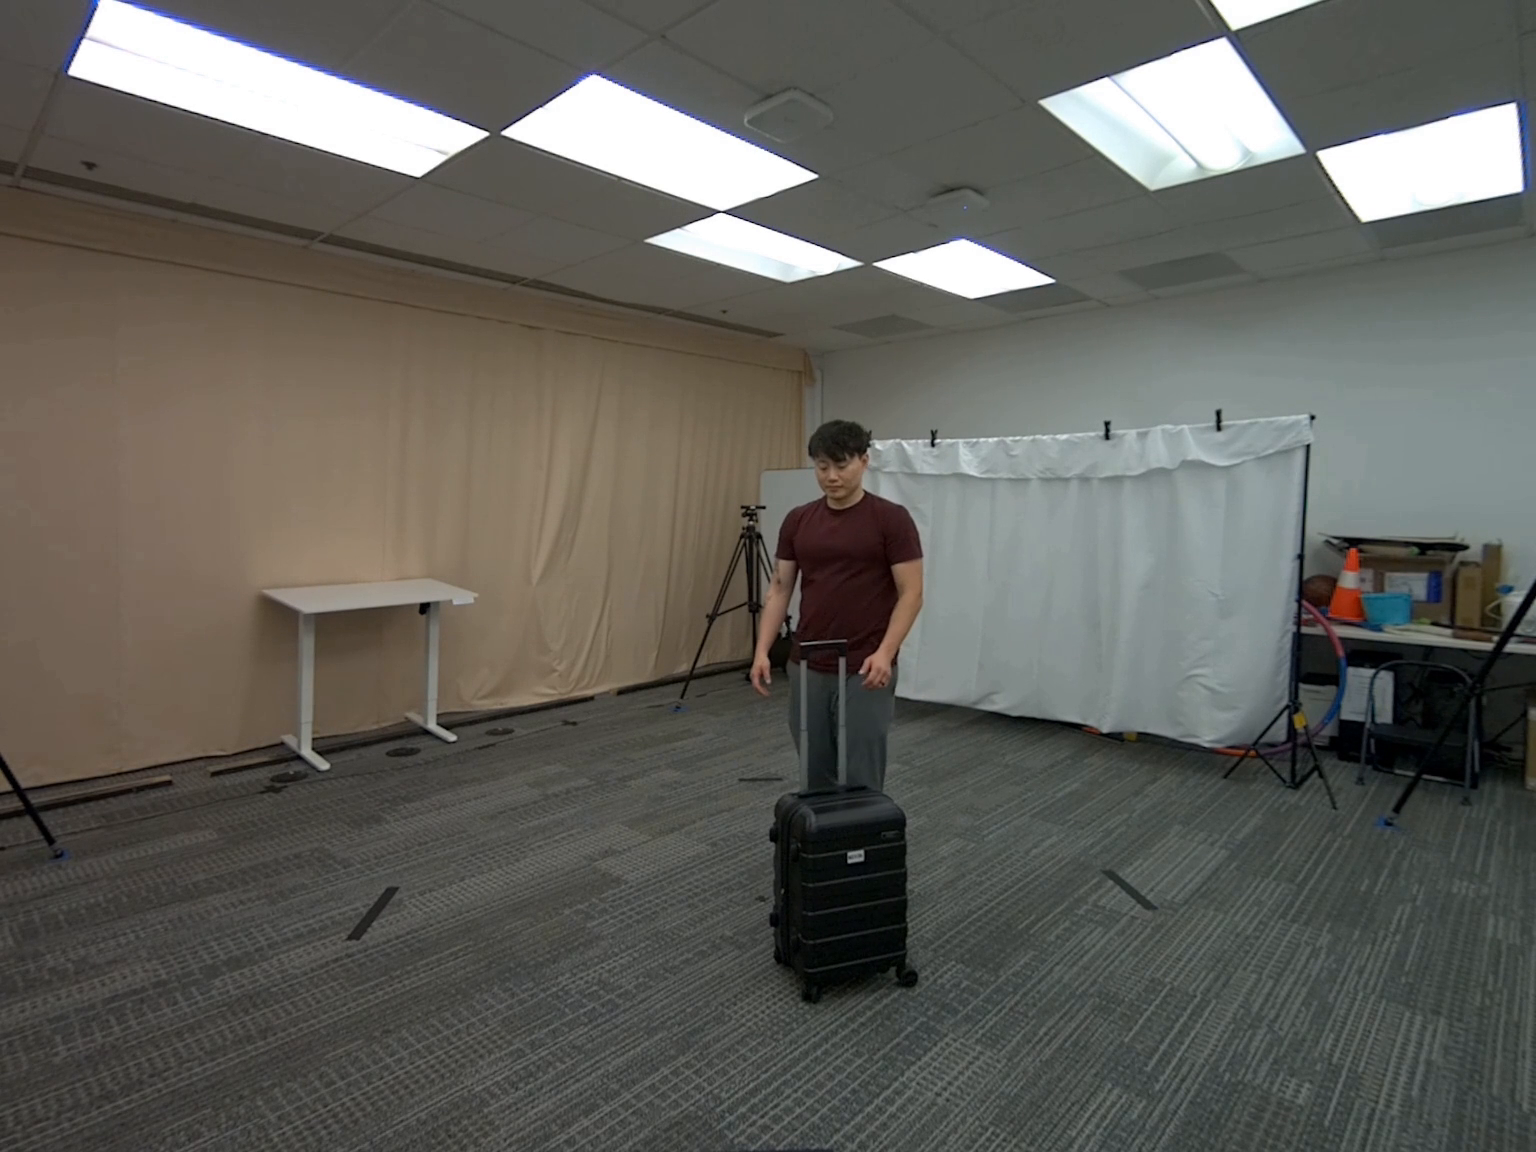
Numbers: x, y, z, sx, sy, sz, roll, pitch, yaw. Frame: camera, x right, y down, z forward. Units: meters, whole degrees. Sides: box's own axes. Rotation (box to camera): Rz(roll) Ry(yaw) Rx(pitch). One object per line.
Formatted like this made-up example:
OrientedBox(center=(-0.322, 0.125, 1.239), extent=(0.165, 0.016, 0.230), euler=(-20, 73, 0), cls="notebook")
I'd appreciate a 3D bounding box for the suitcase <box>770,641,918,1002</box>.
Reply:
OrientedBox(center=(0.221, 0.708, 2.470), extent=(0.377, 0.975, 0.262), euler=(-1, 5, -18), cls="suitcase")
